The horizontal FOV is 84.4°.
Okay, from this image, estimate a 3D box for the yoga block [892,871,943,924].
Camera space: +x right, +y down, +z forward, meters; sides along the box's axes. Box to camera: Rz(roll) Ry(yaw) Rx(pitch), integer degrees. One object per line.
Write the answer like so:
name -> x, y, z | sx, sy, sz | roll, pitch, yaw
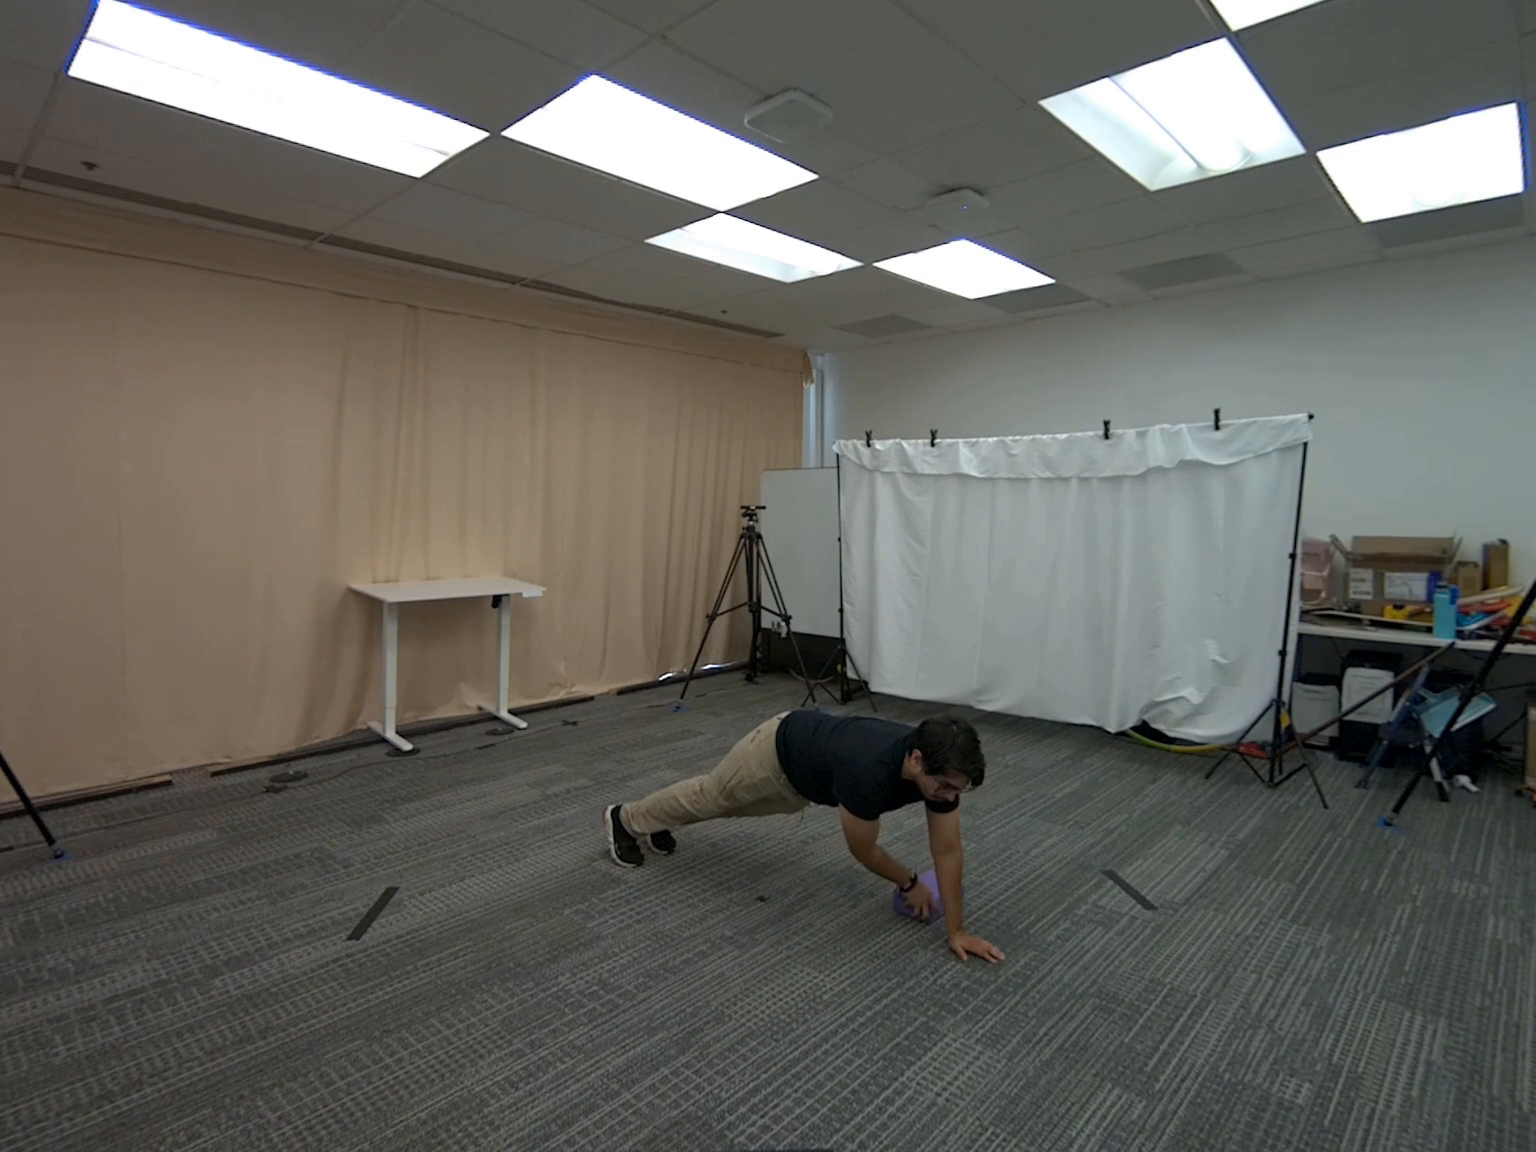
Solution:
yoga block -> 0.563, 1.108, 2.915 | 0.222, 0.076, 0.154 | -5, 8, -44
